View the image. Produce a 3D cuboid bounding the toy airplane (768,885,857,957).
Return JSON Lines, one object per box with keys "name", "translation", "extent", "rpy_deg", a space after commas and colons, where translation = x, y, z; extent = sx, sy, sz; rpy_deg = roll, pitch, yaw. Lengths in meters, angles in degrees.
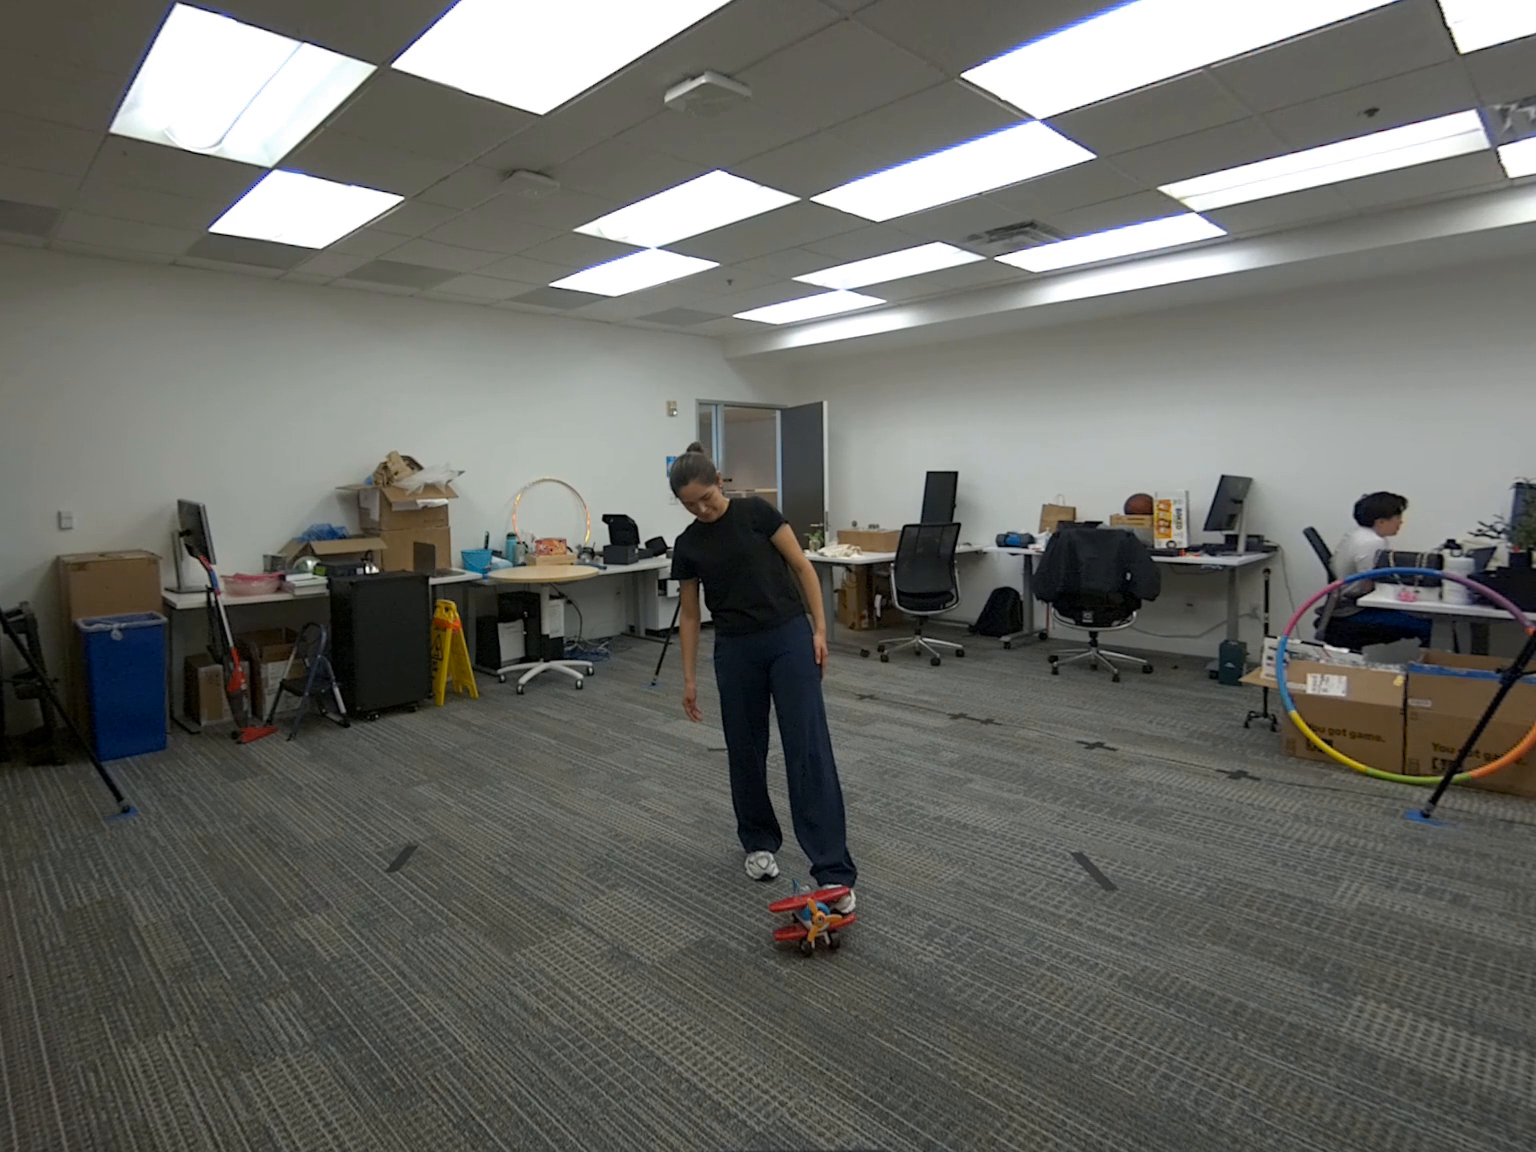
{"name": "toy airplane", "translation": [0.113, 1.028, 2.594], "extent": [0.245, 0.155, 0.267], "rpy_deg": [-13, 11, -41]}
